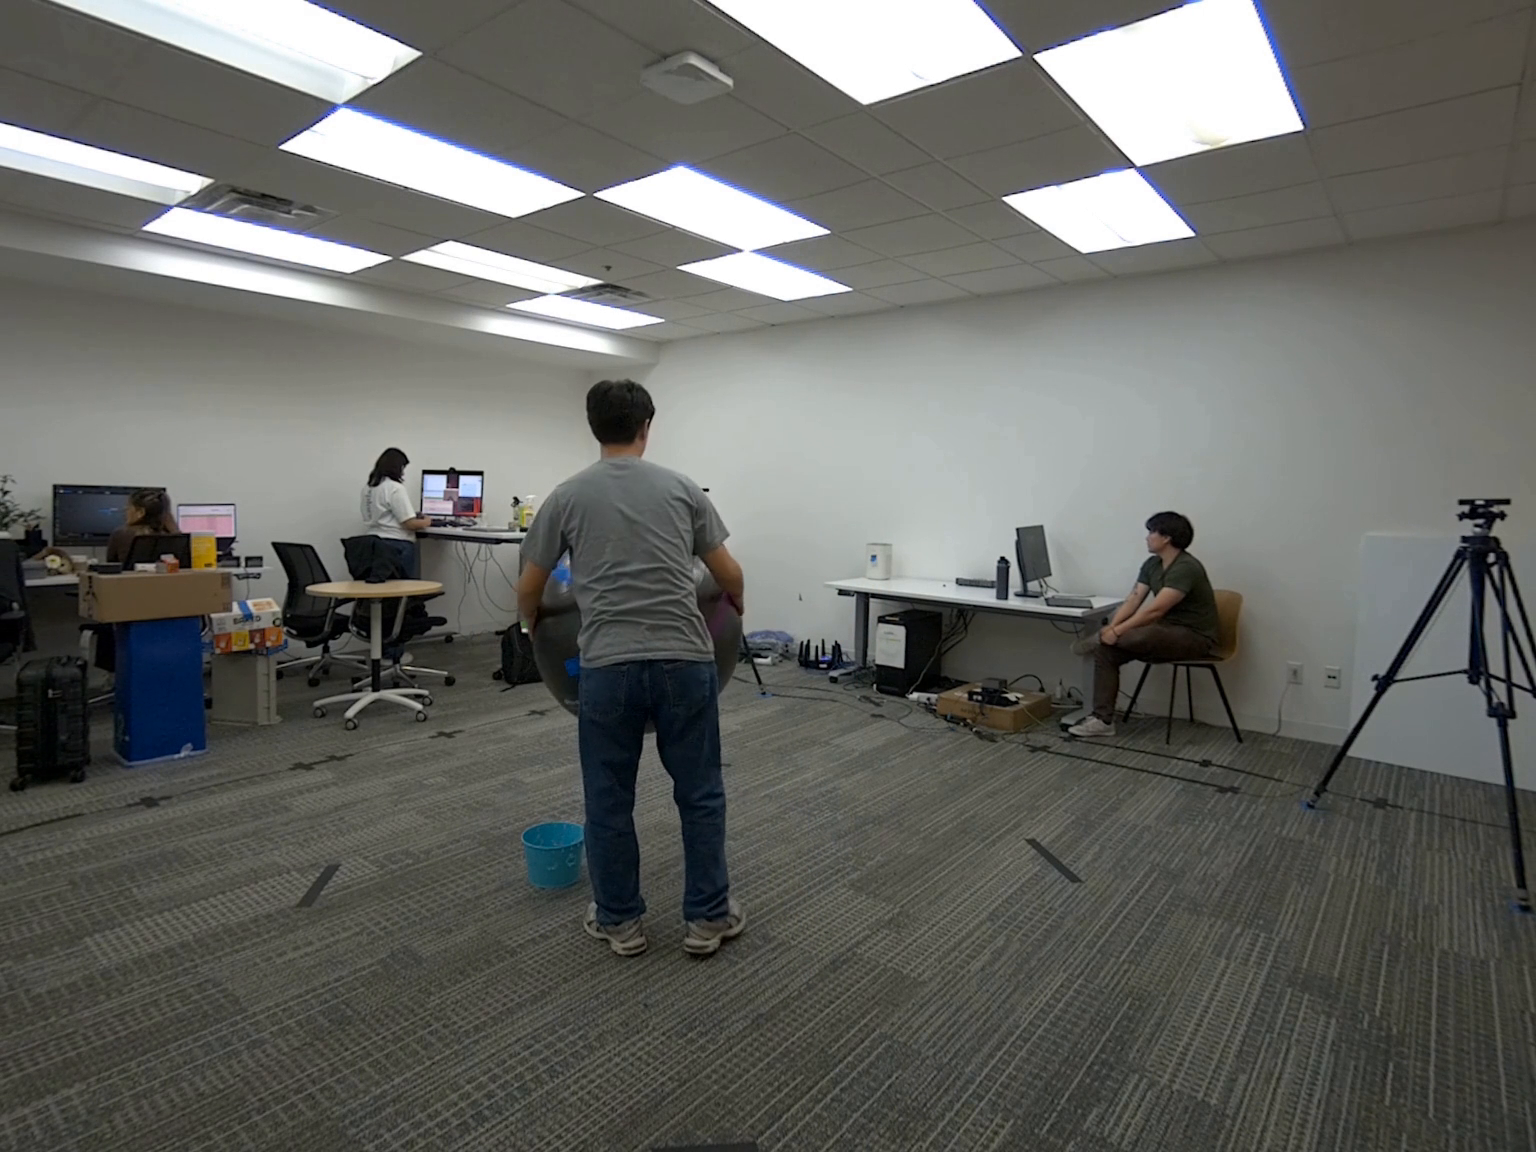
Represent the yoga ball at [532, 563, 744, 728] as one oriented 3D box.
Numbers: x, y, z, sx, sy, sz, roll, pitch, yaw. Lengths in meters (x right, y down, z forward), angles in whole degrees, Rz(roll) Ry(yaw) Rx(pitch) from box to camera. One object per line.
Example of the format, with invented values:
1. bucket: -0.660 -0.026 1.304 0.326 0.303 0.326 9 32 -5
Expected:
1. yoga ball: -0.478 0.182 3.061 0.757 0.755 0.762 1 4 -2
